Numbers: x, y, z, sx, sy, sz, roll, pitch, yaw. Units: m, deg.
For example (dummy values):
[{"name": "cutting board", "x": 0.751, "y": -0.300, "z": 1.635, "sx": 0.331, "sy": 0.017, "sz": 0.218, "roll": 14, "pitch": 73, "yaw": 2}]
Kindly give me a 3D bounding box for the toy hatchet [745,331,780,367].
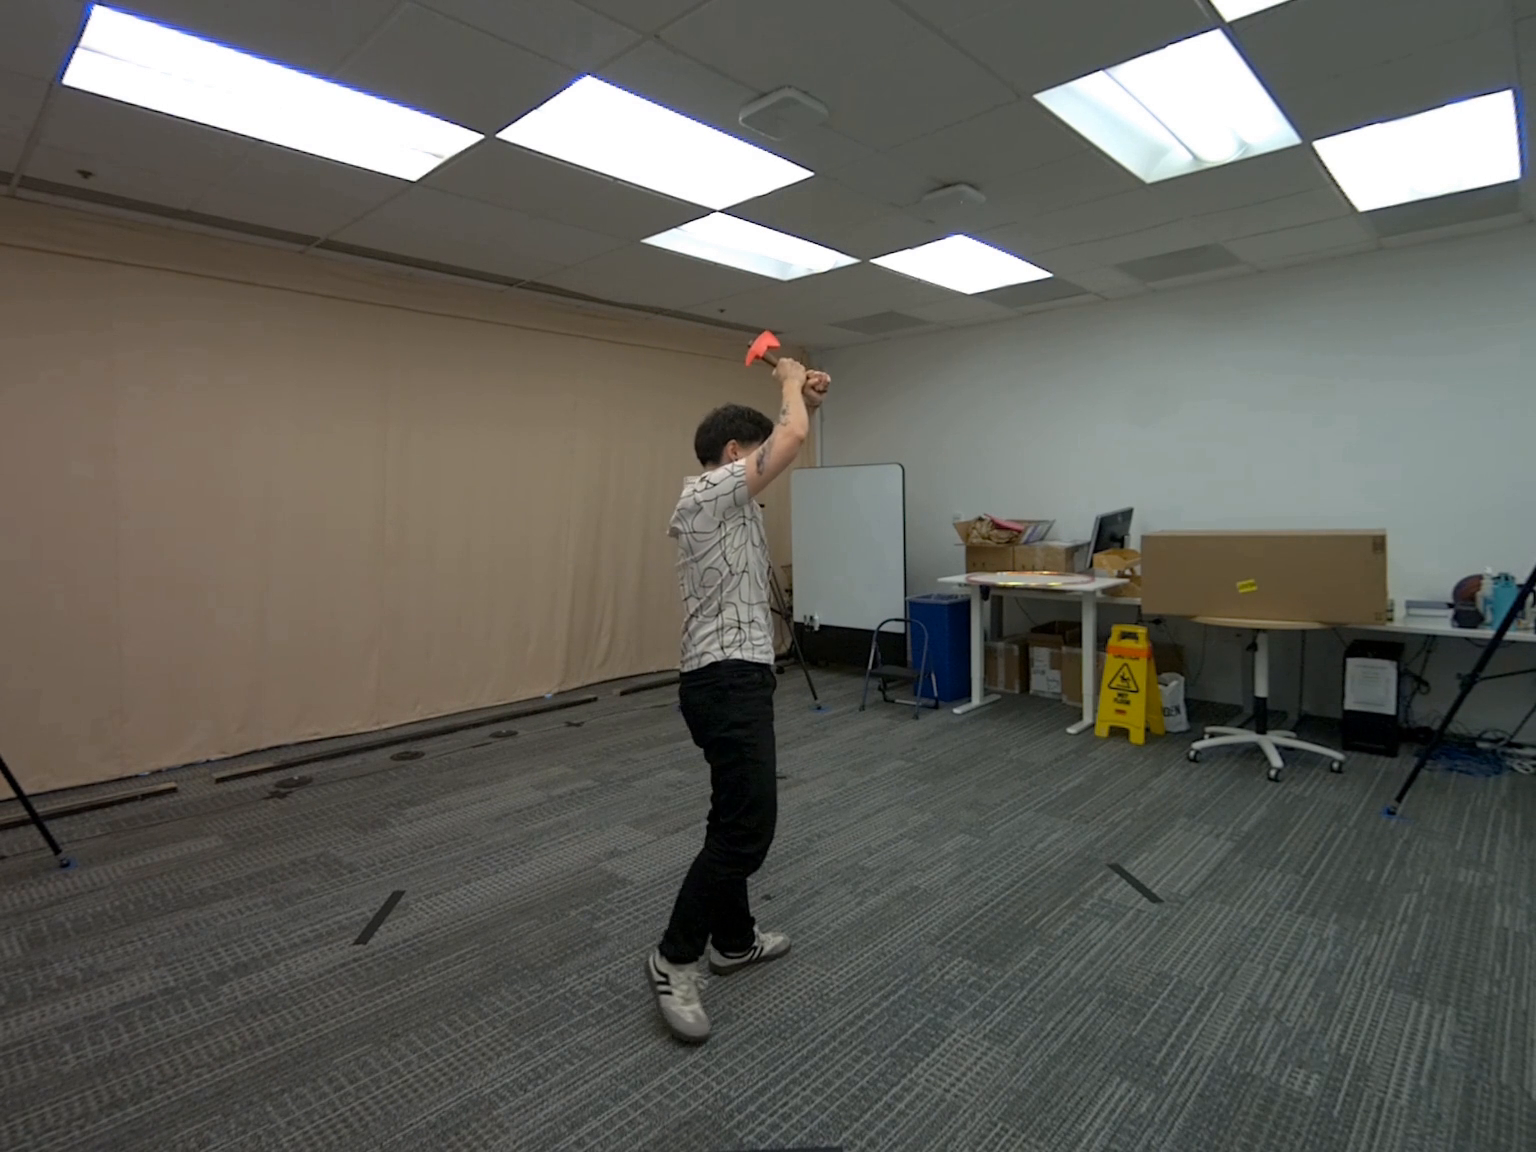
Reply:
[{"name": "toy hatchet", "x": 0.069, "y": -0.649, "z": 2.488, "sx": 0.267, "sy": 0.132, "sz": 0.030, "roll": 13, "pitch": -17, "yaw": -9}]
